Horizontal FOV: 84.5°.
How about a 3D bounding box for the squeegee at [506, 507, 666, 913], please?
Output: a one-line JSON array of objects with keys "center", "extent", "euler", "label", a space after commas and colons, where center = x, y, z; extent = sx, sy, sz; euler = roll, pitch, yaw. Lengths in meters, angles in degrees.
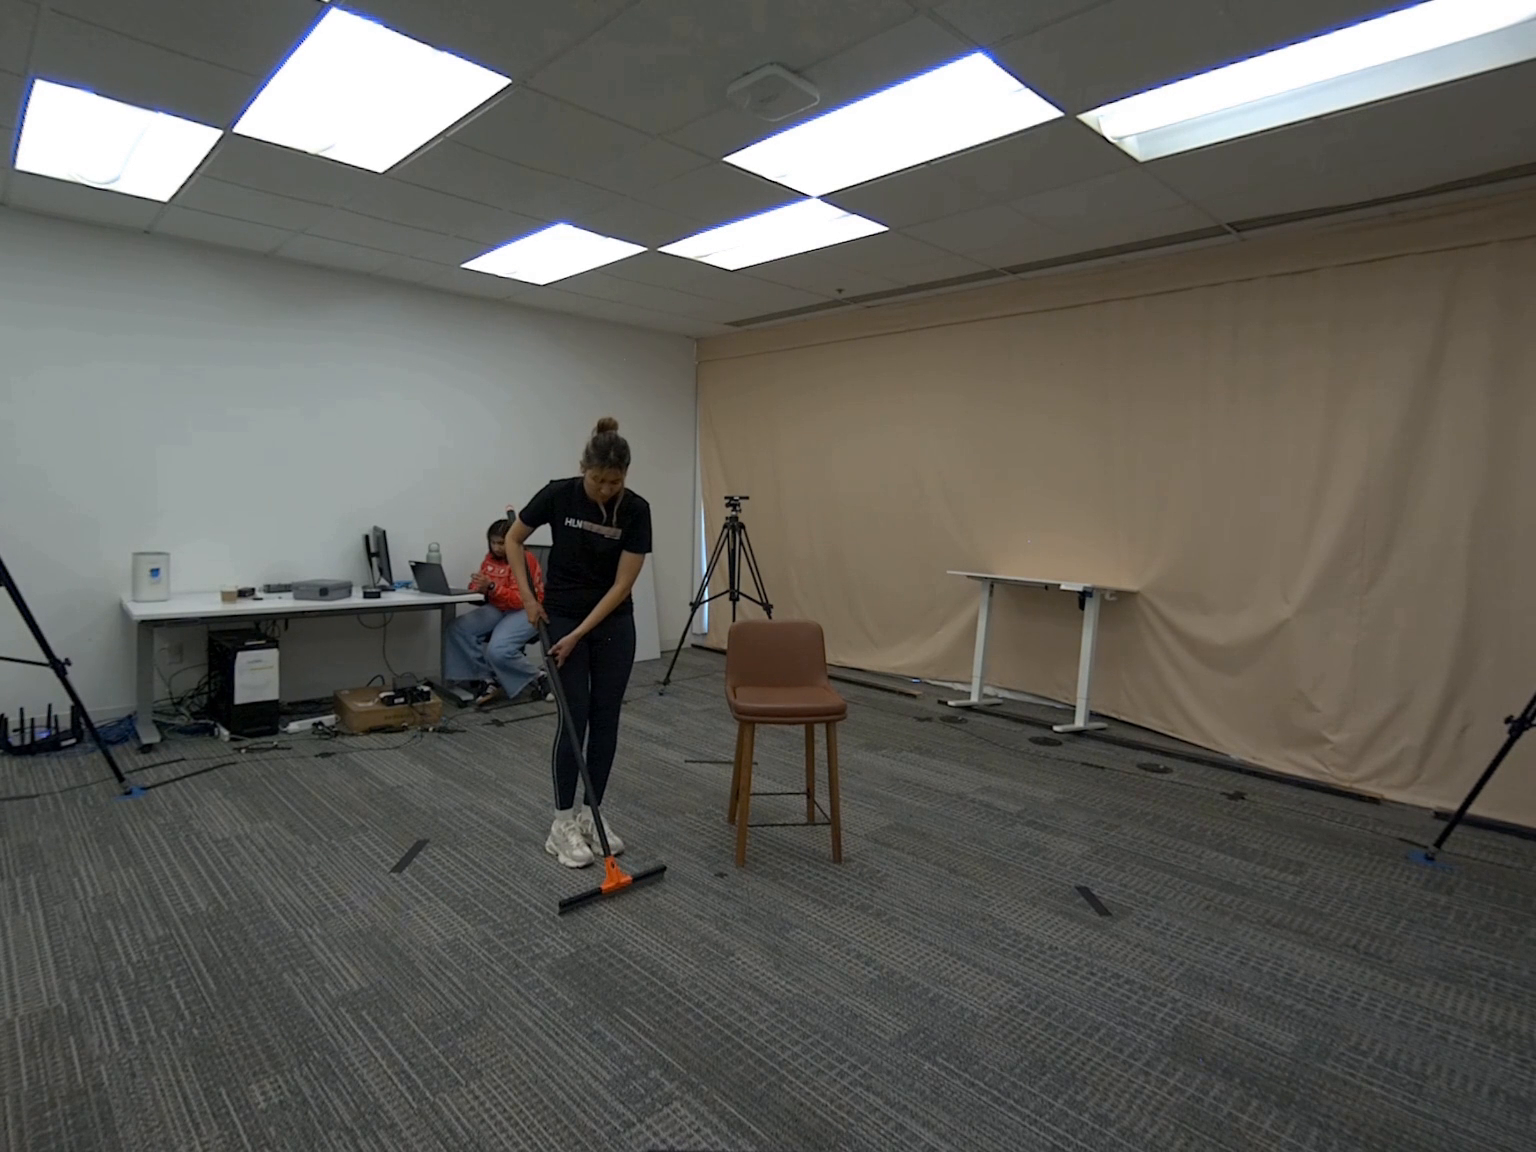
[{"center": [-0.805, 0.404, 3.141], "extent": [0.428, 1.565, 0.053], "euler": [-4, -26, -46], "label": "squeegee"}]
